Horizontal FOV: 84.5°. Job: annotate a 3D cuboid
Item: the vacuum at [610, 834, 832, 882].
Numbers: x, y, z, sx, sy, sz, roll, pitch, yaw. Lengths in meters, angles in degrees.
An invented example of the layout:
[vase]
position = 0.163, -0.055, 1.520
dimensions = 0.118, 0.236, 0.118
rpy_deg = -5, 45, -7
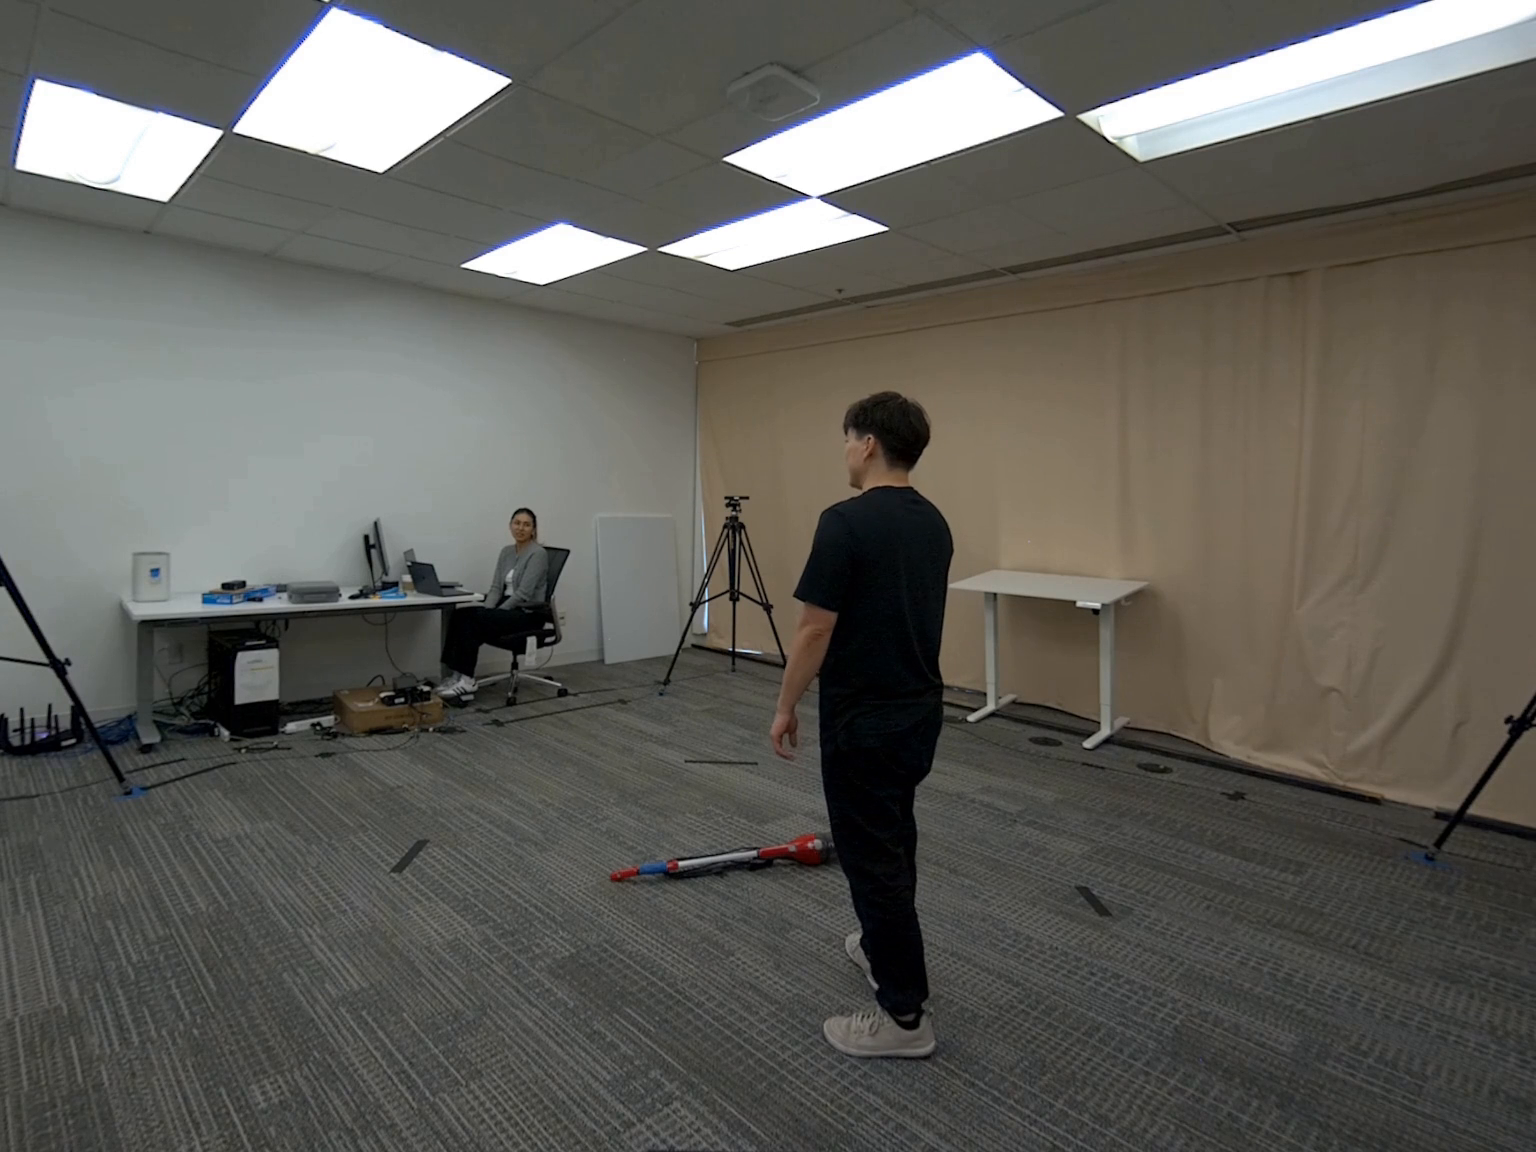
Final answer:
[vacuum]
position = -0.060, 1.050, 3.154
dimensions = 1.040, 0.258, 0.142
rpy_deg = -5, -32, -11
